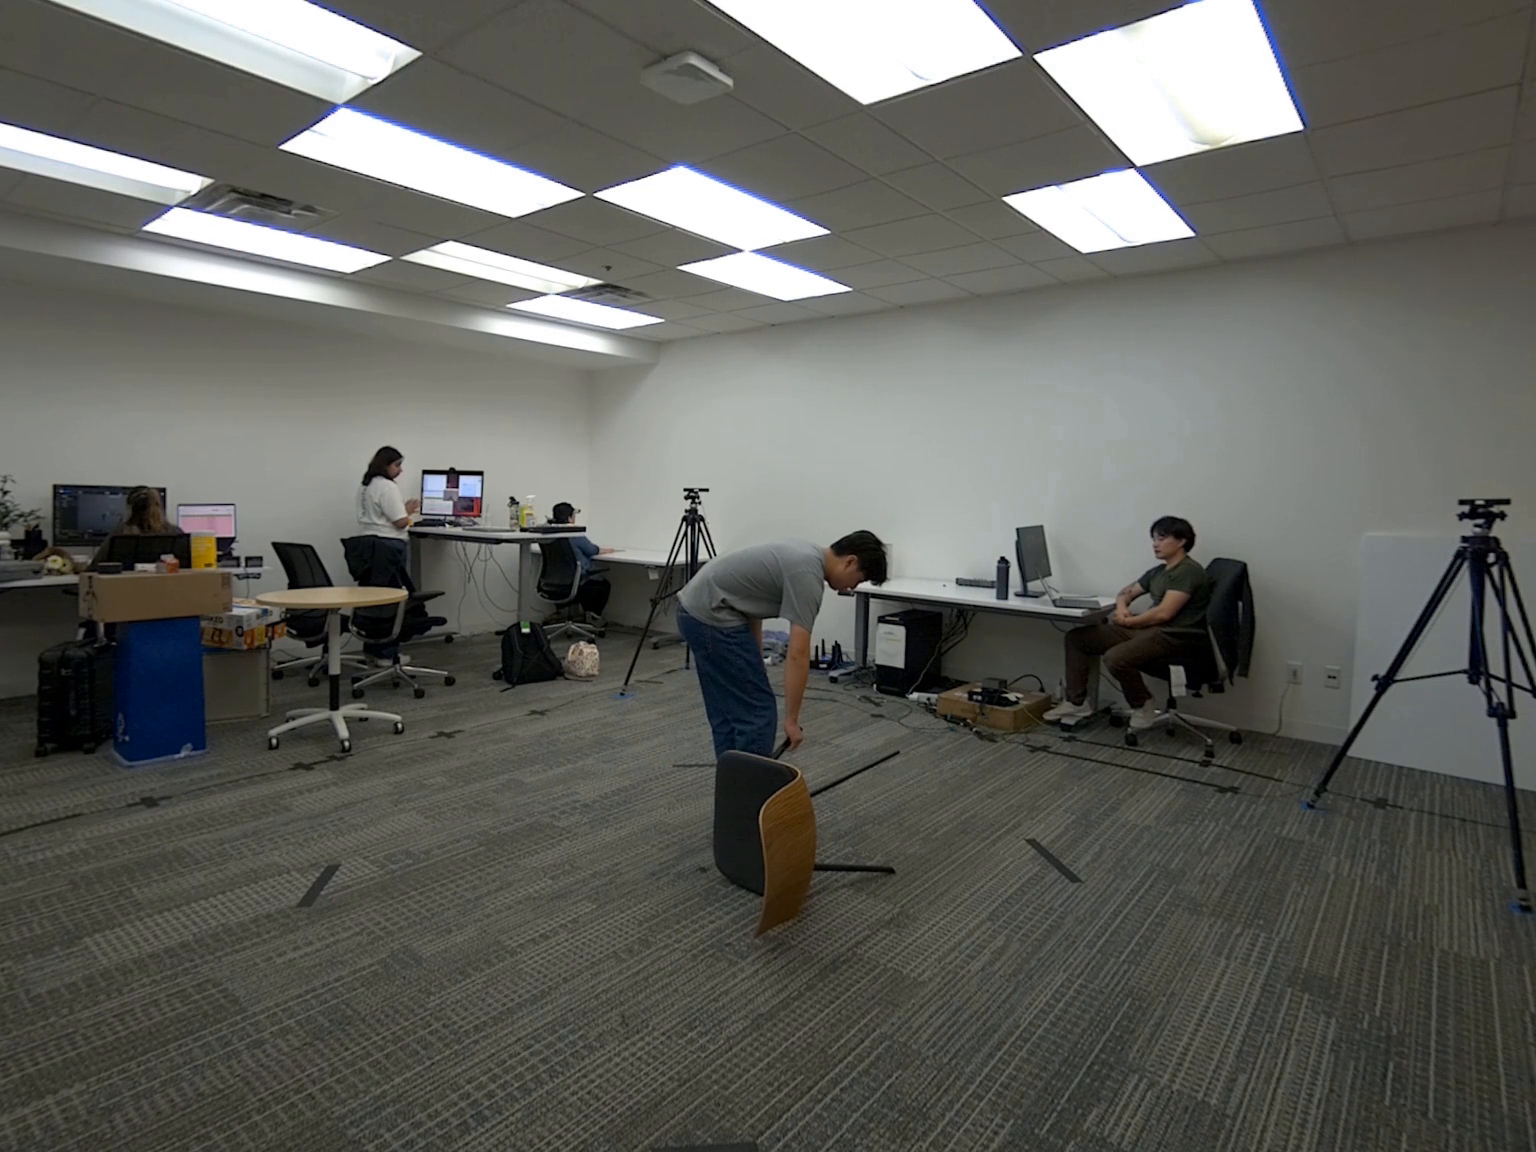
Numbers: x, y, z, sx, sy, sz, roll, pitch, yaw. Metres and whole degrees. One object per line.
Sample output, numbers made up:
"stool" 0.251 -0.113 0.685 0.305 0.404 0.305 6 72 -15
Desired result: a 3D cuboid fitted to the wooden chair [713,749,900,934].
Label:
"wooden chair" 0.018 0.860 2.944 0.540 0.477 0.852 4 5 35
